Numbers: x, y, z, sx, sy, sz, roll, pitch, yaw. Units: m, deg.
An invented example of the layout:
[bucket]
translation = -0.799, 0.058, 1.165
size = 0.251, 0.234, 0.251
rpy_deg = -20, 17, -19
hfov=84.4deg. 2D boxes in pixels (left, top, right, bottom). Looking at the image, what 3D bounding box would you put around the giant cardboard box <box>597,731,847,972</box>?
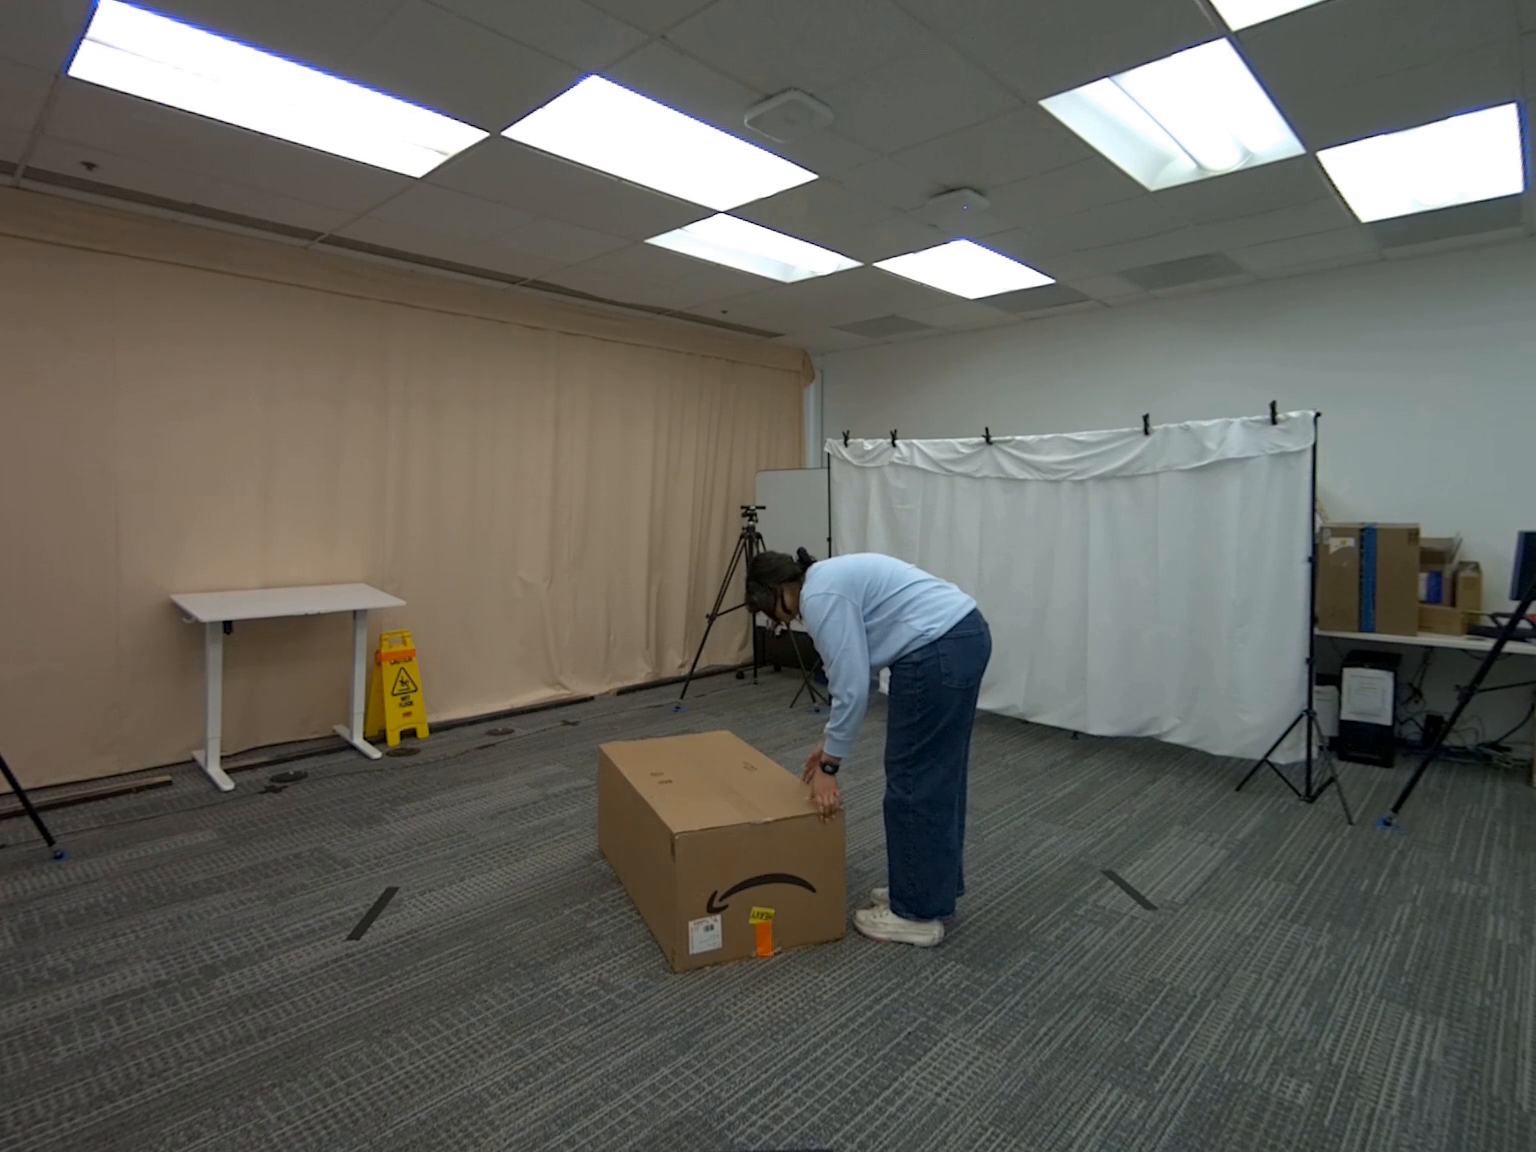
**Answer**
[giant cardboard box]
translation = -0.223, 0.924, 3.066
size = 0.565, 0.425, 1.050
rpy_deg = -2, 5, -23
